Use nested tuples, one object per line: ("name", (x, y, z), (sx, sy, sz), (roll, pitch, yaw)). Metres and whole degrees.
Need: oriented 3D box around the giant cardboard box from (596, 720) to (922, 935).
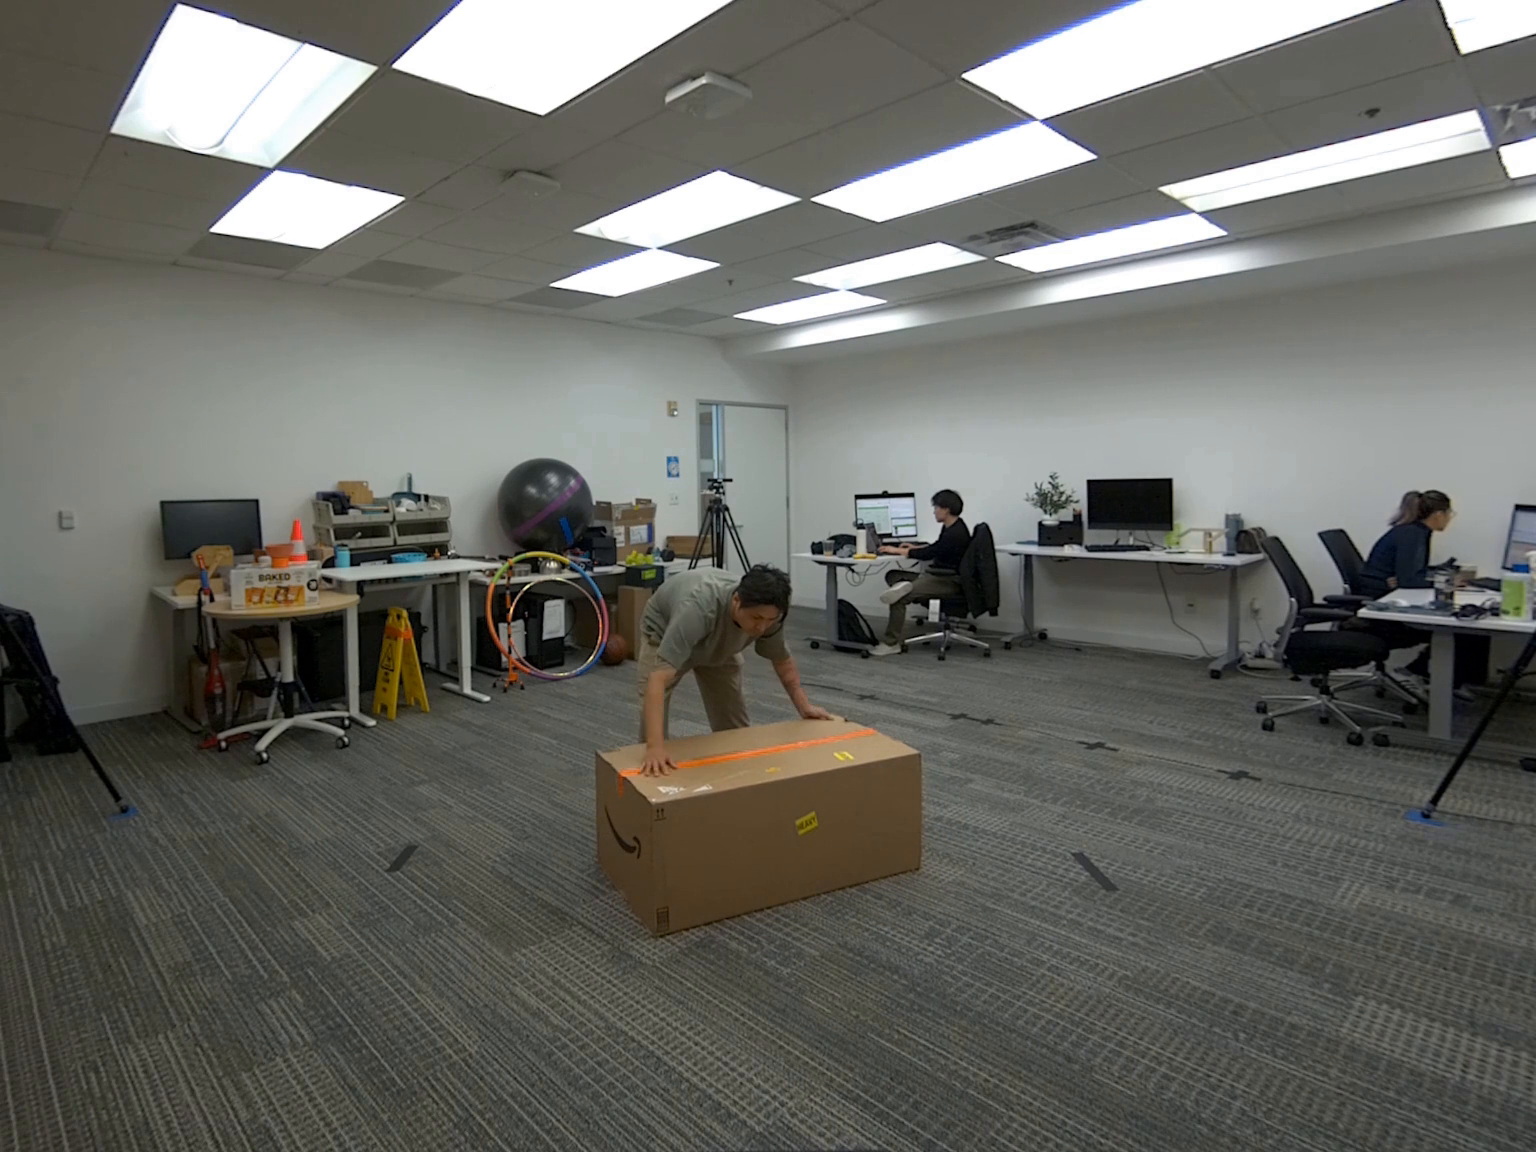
("giant cardboard box", (-0.038, 0.830, 3.065), (1.004, 0.424, 0.592), (-4, 6, -26))
